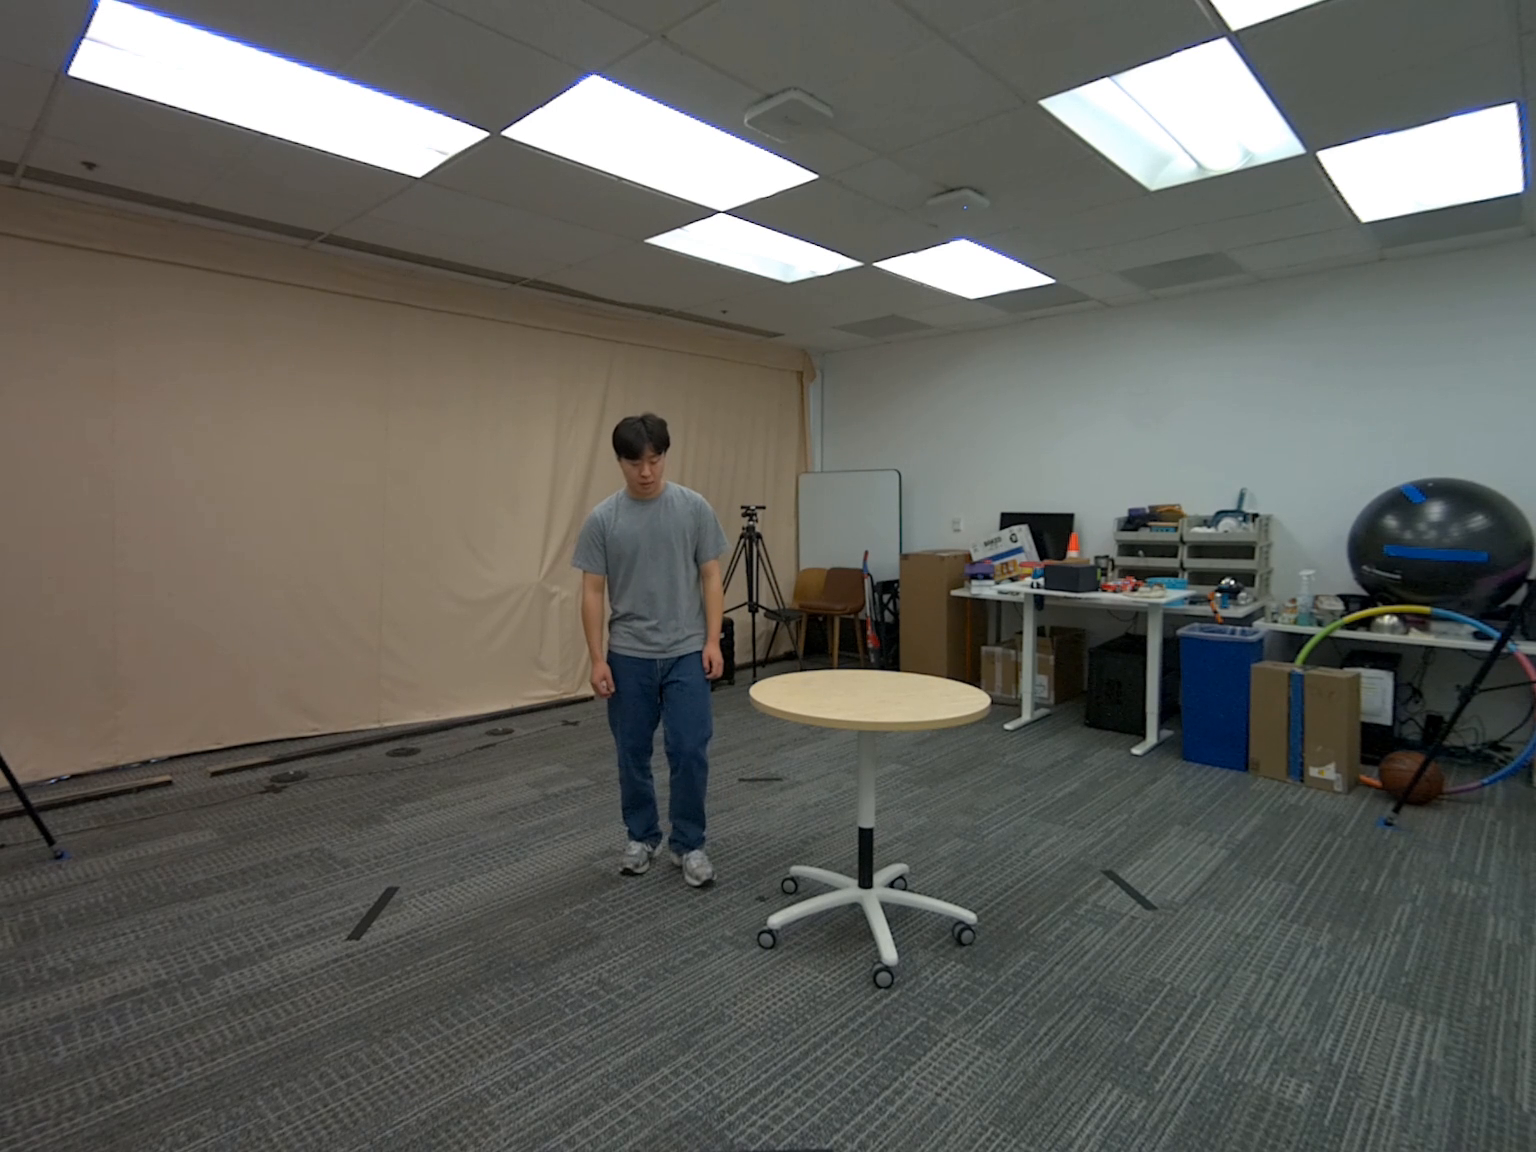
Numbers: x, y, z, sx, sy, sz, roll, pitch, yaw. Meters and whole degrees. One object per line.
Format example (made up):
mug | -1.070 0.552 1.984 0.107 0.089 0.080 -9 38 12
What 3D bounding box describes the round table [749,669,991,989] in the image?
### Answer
round table | 0.327 0.774 2.754 0.763 0.792 0.767 0 4 -2
